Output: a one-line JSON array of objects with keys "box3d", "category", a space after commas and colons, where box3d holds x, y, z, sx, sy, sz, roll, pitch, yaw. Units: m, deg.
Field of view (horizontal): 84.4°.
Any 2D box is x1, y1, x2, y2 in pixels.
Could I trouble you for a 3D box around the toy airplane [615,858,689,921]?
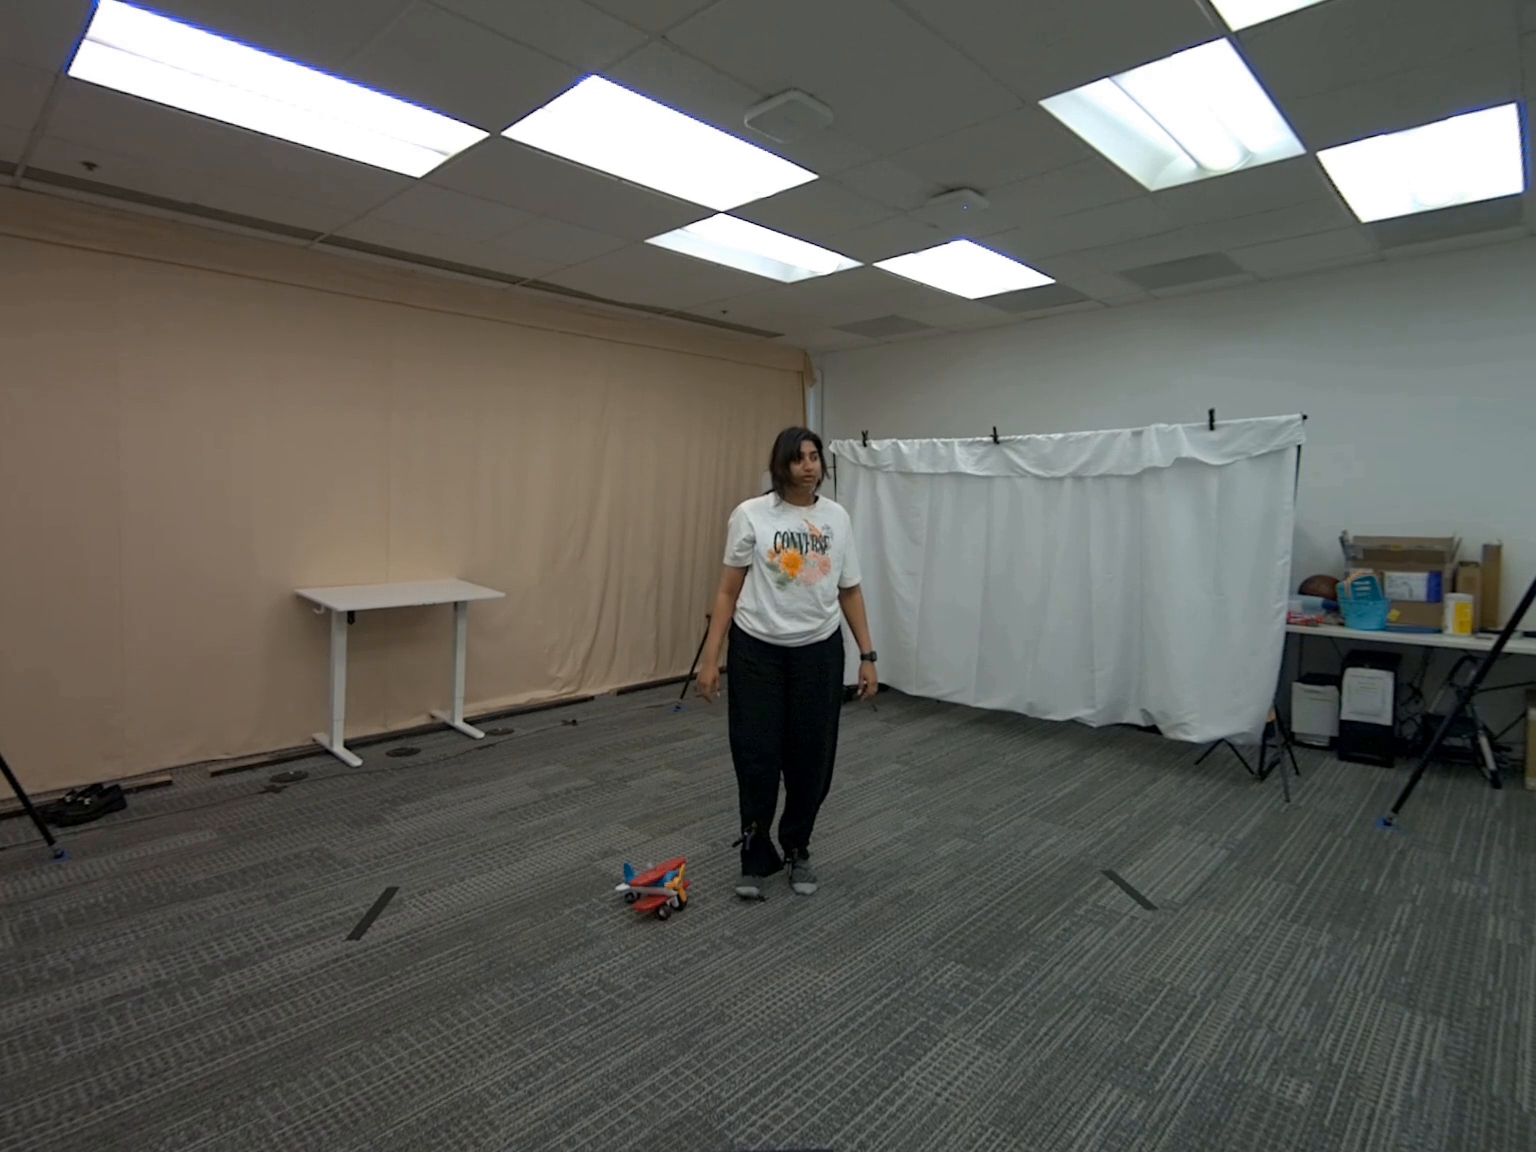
[{"box3d": [-0.408, 1.076, 2.897, 0.261, 0.156, 0.250, 1, 5, 7], "category": "toy airplane"}]
